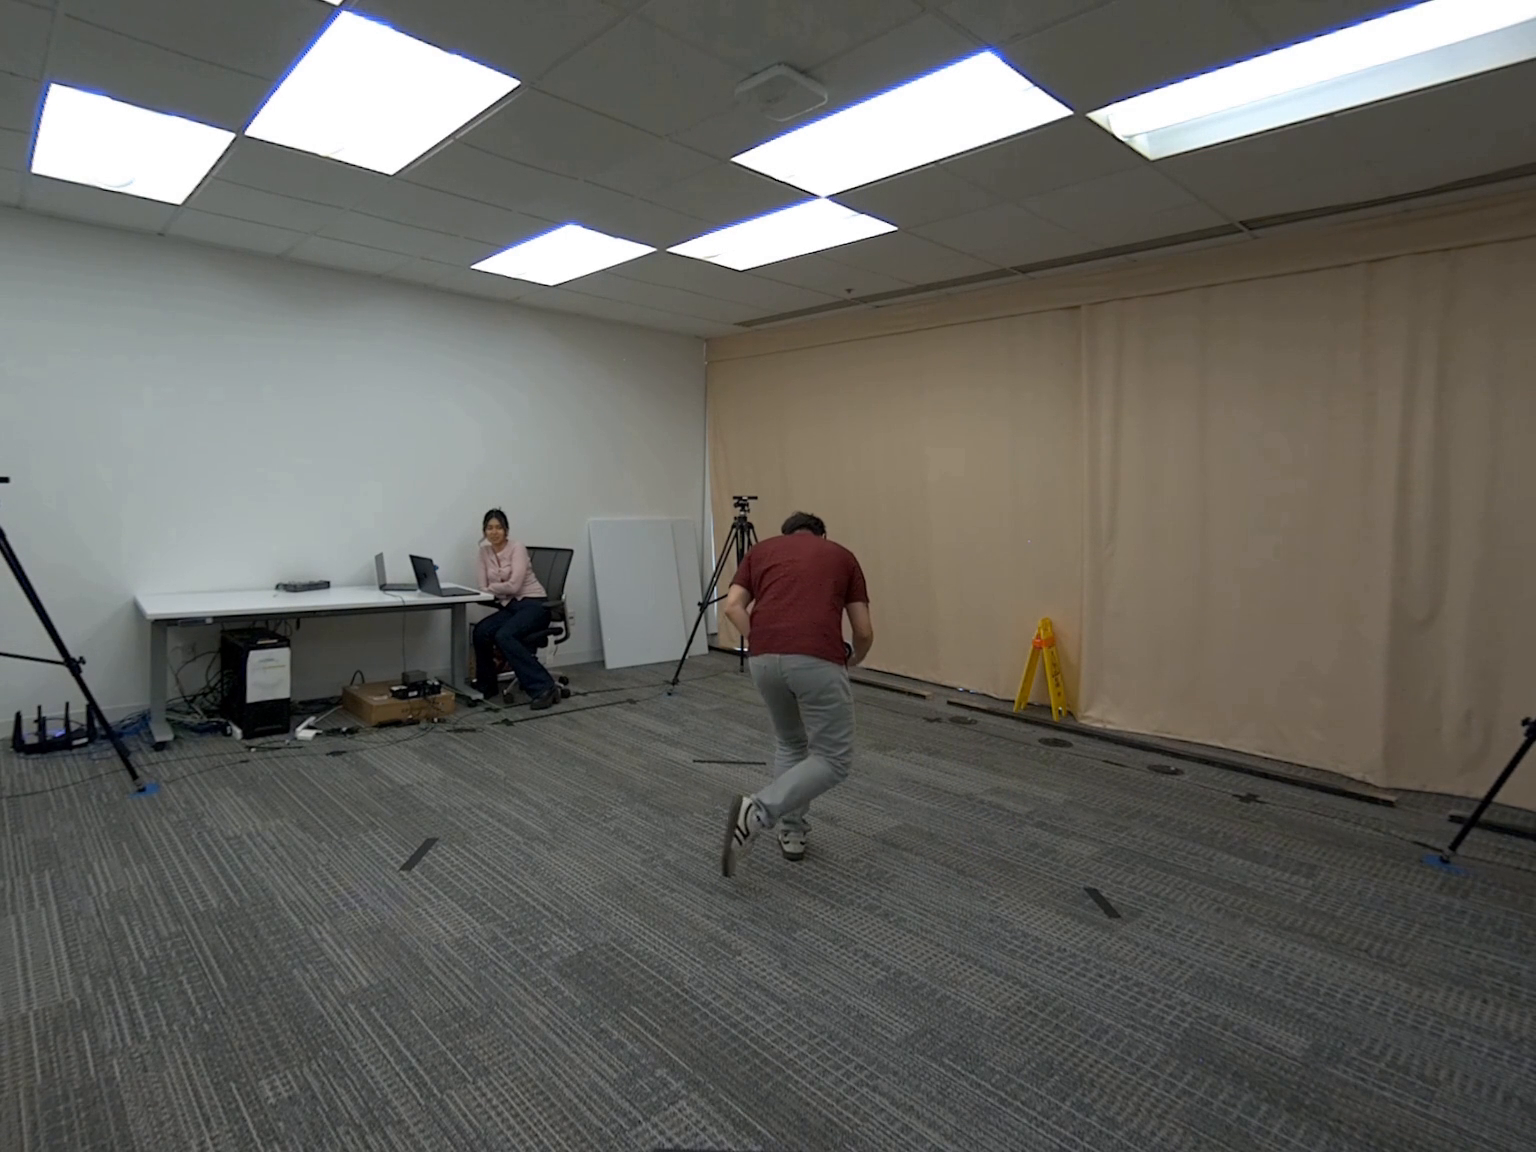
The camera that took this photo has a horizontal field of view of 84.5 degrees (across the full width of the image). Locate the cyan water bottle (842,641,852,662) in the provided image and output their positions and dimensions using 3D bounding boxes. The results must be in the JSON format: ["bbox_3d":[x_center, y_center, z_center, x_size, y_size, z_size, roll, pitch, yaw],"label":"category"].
[{"bbox_3d":[0.350,0.342,3.714,0.094,0.093,0.277,3,-8,18],"label":"cyan water bottle"}]
